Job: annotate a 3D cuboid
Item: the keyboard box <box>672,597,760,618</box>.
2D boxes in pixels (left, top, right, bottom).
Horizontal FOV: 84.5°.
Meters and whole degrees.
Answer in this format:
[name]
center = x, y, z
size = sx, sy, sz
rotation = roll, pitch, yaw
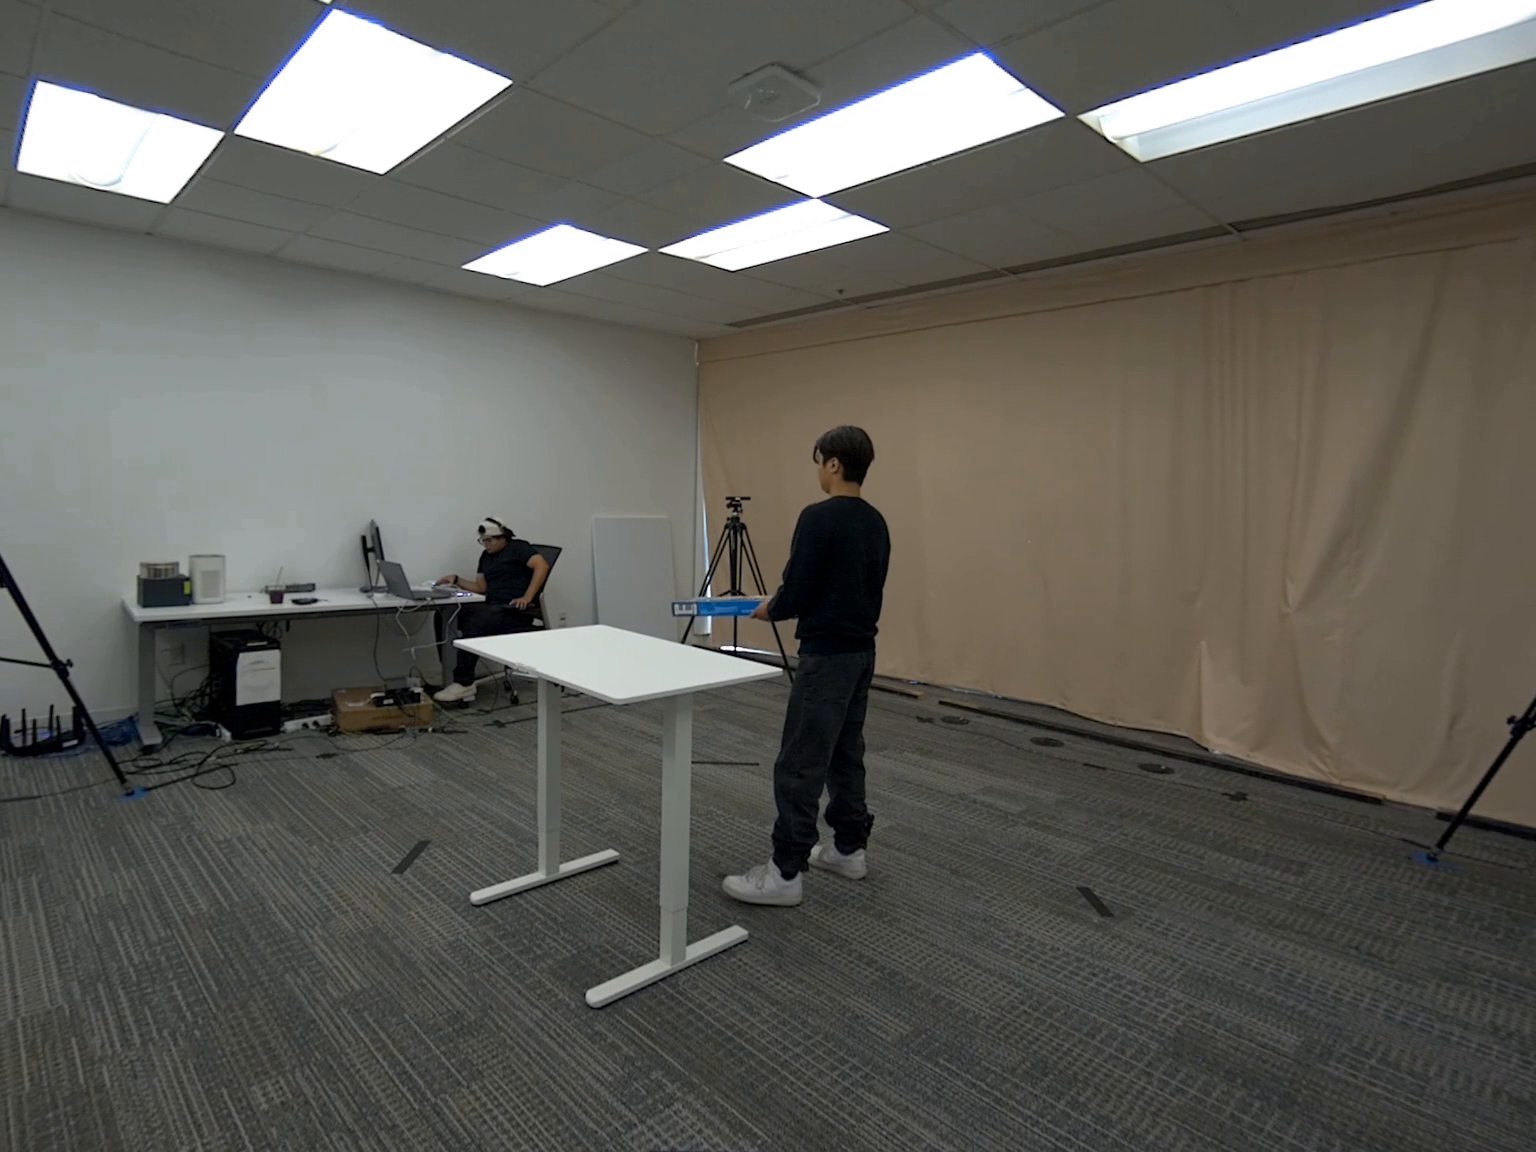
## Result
[keyboard box]
center = -0.159, 0.121, 3.358
size = 0.441, 0.059, 0.174
rotation = -1, 3, 13
